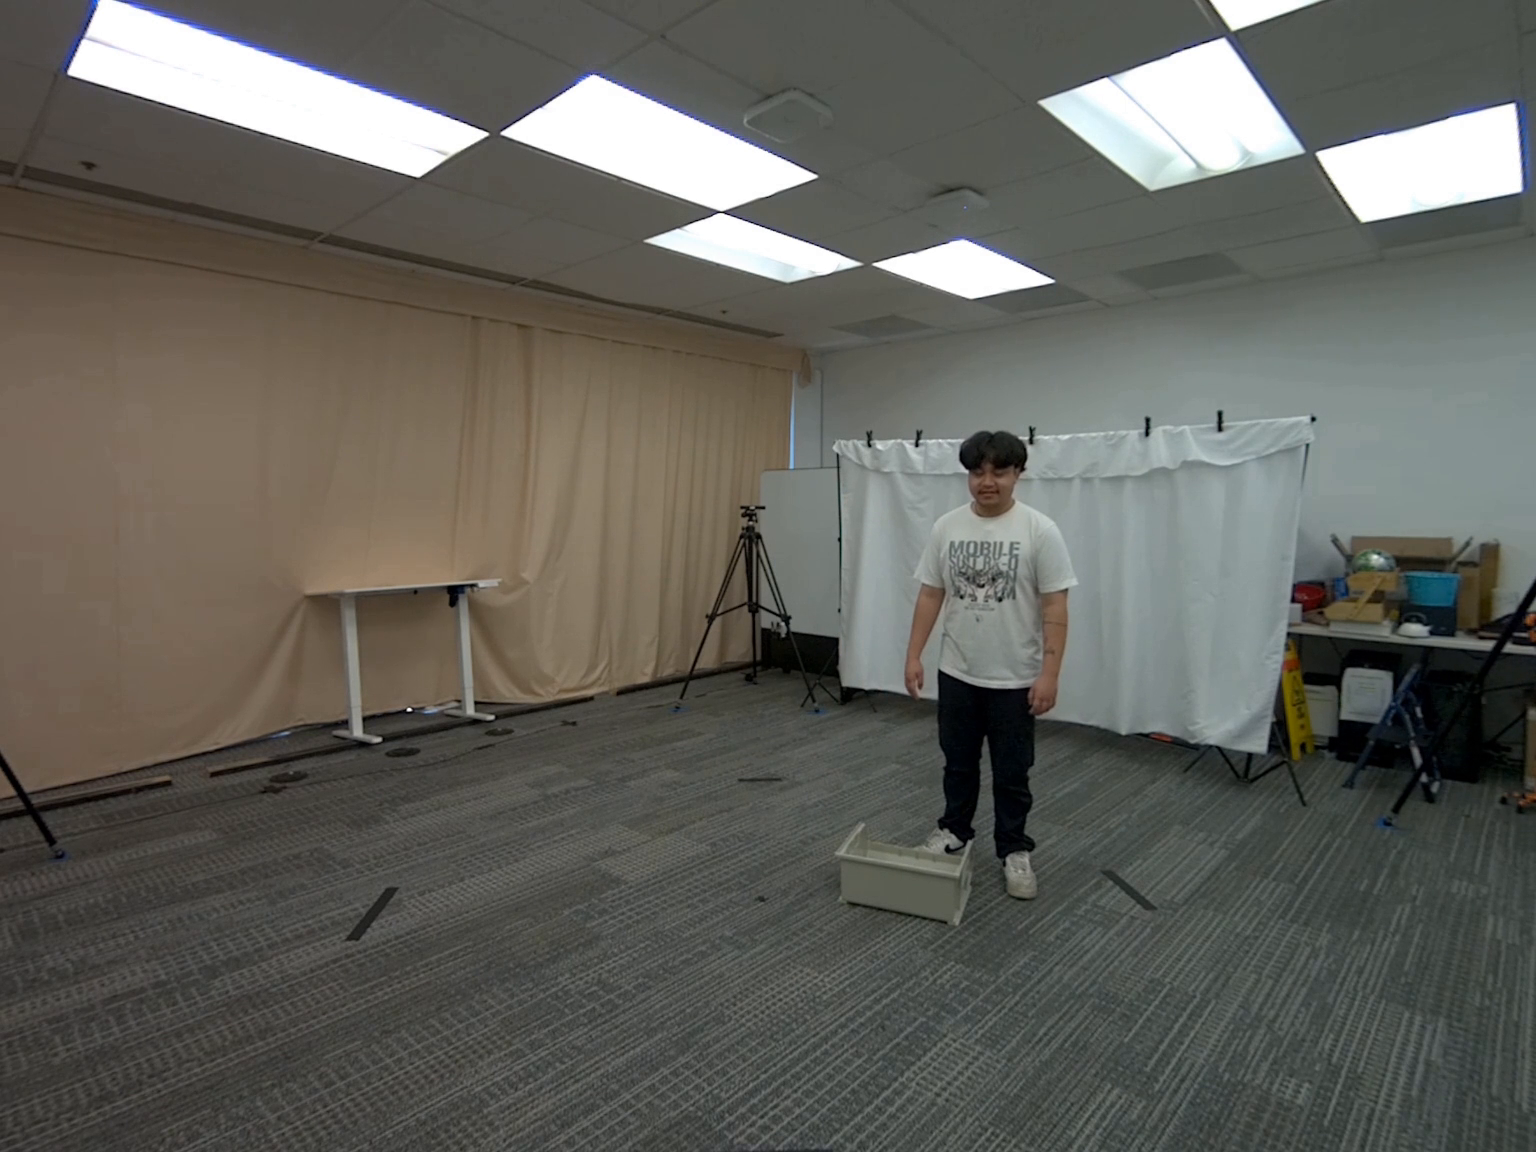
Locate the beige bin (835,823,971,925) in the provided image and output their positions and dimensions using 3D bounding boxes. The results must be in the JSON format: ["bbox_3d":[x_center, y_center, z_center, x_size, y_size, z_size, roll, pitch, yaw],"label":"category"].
[{"bbox_3d":[0.504,1.048,3.019,0.433,0.188,0.369,3,6,23],"label":"beige bin"}]
